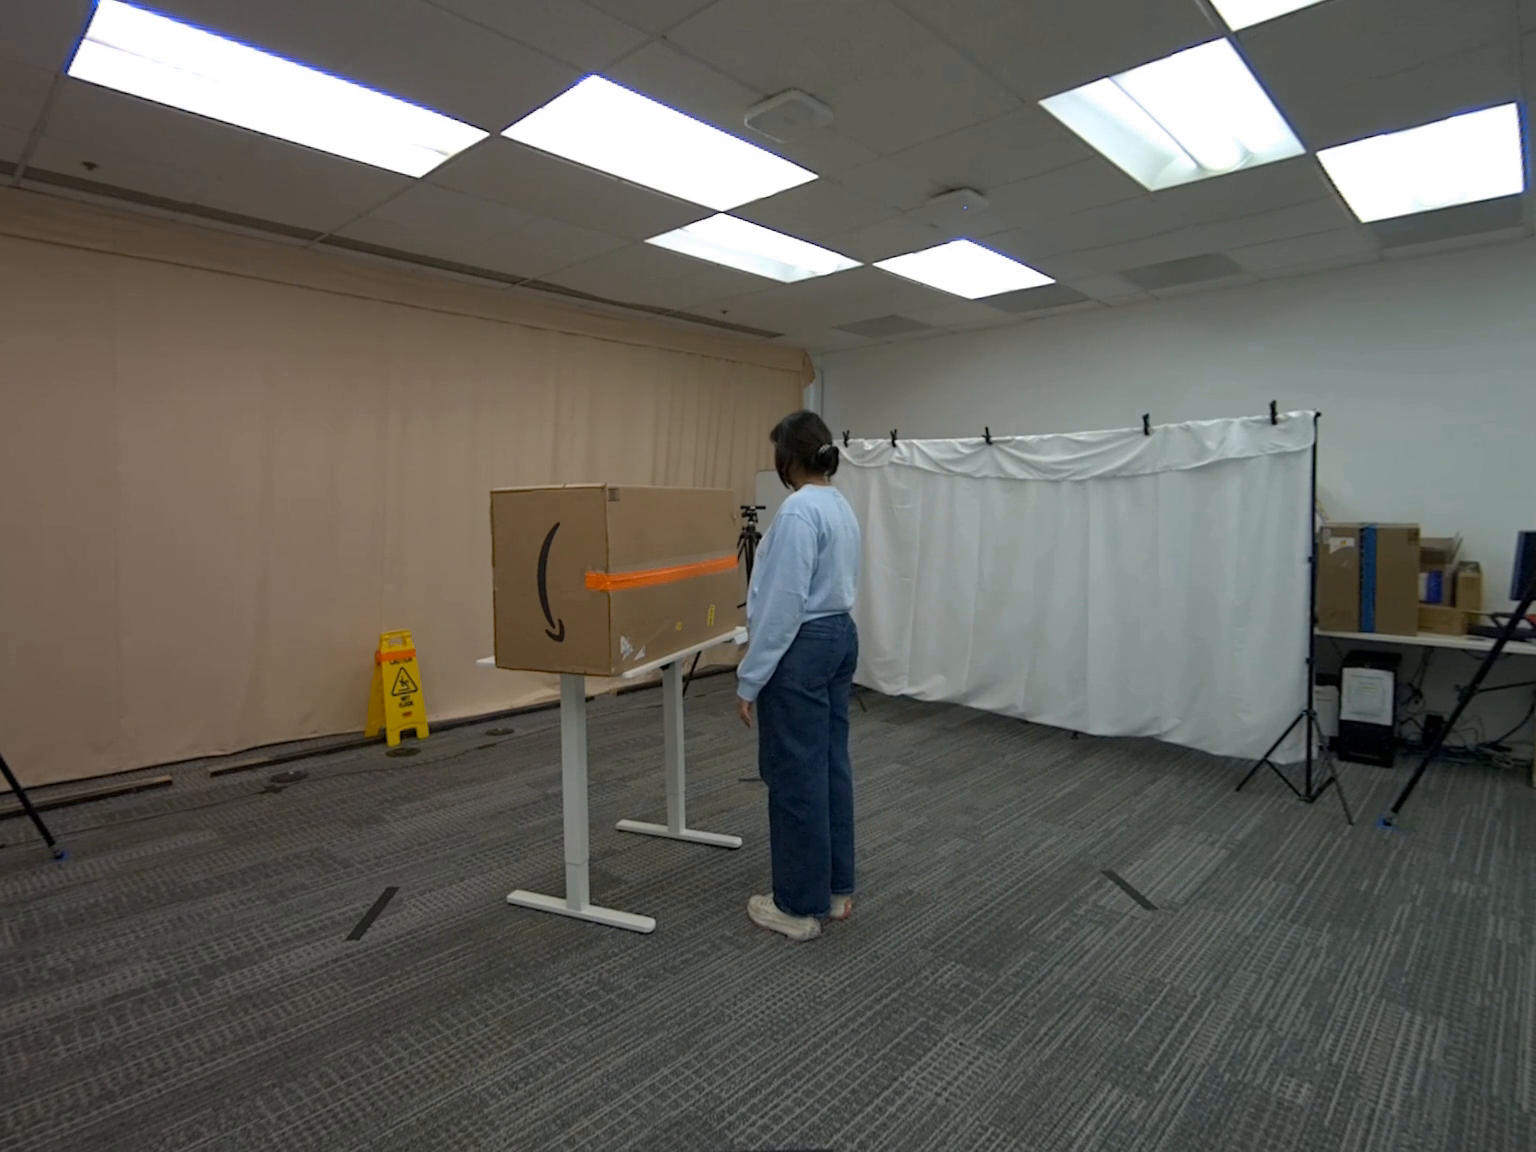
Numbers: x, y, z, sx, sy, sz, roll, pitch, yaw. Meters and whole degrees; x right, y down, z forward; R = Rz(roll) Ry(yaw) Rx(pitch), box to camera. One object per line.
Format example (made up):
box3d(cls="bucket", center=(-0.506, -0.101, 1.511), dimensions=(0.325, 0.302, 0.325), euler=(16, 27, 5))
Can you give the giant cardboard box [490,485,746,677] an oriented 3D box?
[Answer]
box3d(cls="giant cardboard box", center=(-0.501, -0.027, 3.059), dimensions=(0.436, 0.576, 1.005), euler=(1, 5, 21))
